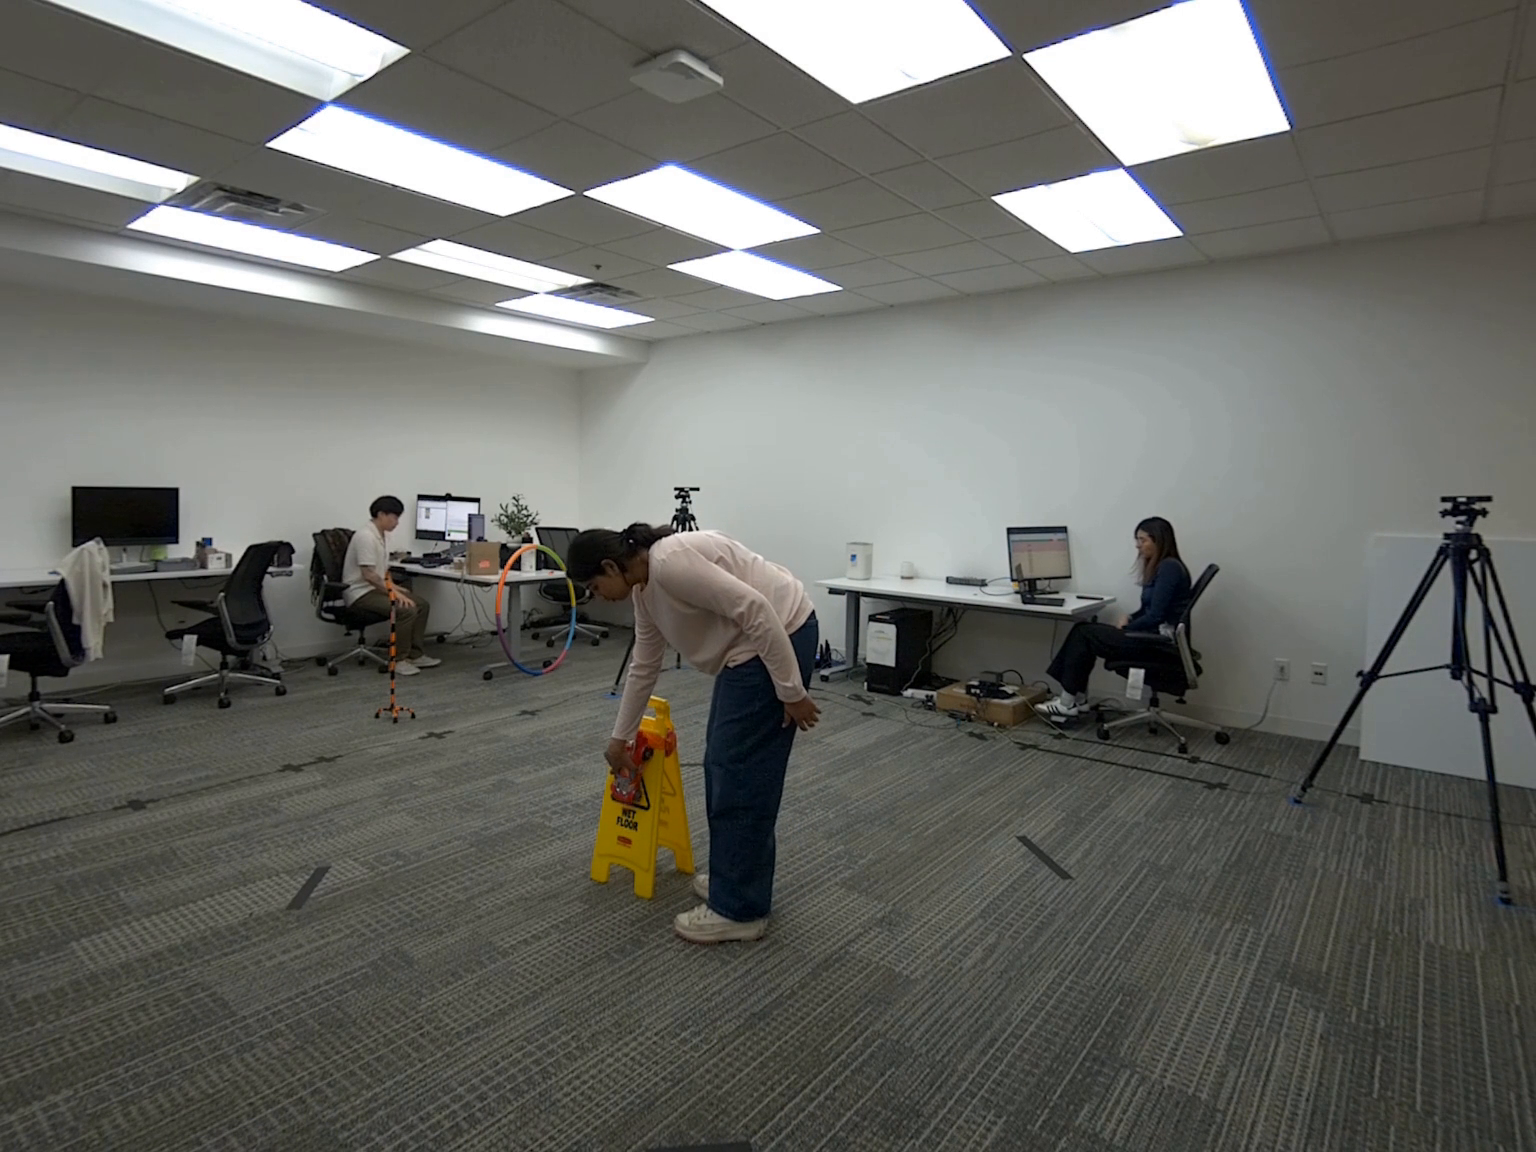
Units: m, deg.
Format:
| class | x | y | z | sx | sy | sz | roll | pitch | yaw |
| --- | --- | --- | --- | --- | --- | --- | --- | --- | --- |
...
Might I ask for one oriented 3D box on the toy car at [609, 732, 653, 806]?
| class | x | y | z | sx | sy | sz | roll | pitch | yaw |
| --- | --- | --- | --- | --- | --- | --- | --- | --- | --- |
| toy car | -0.474 | 0.657 | 2.965 | 0.134 | 0.253 | 0.081 | 12 | 6 | 30 |
